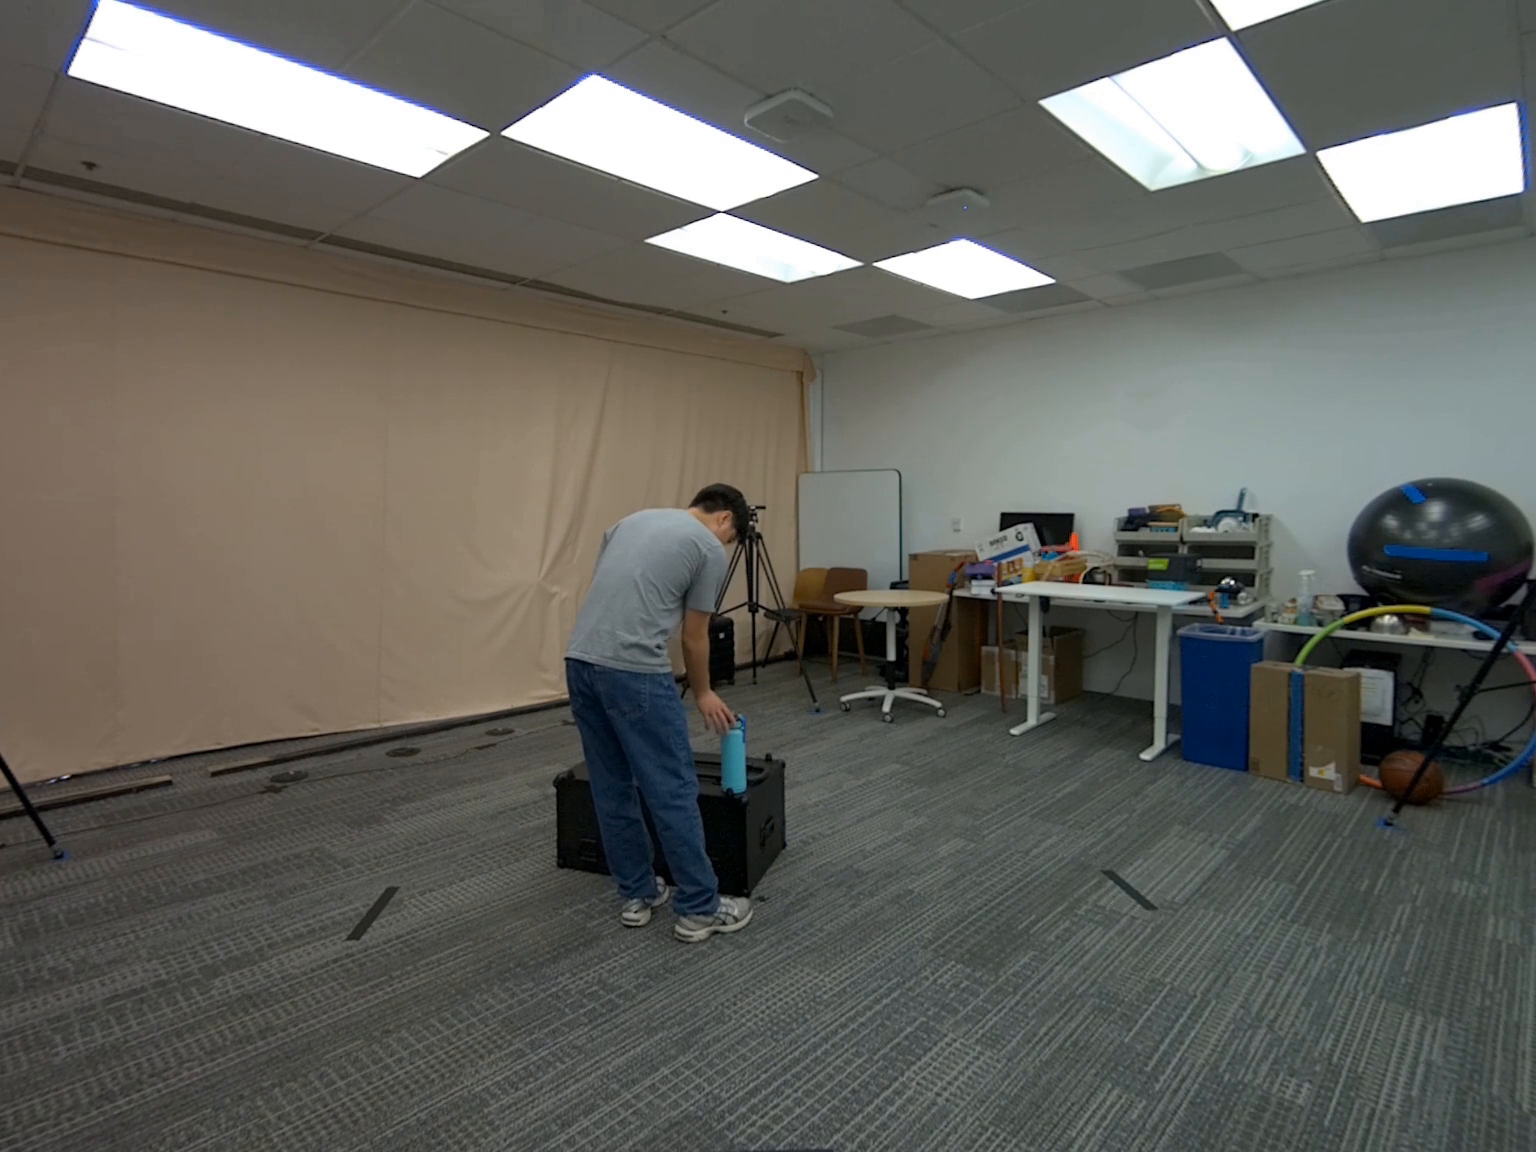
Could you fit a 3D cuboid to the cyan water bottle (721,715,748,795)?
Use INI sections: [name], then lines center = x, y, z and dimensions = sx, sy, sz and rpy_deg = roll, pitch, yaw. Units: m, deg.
[cyan water bottle]
center = -0.122, 0.639, 3.068
dimensions = 0.092, 0.283, 0.092
rpy_deg = -1, 0, -2
